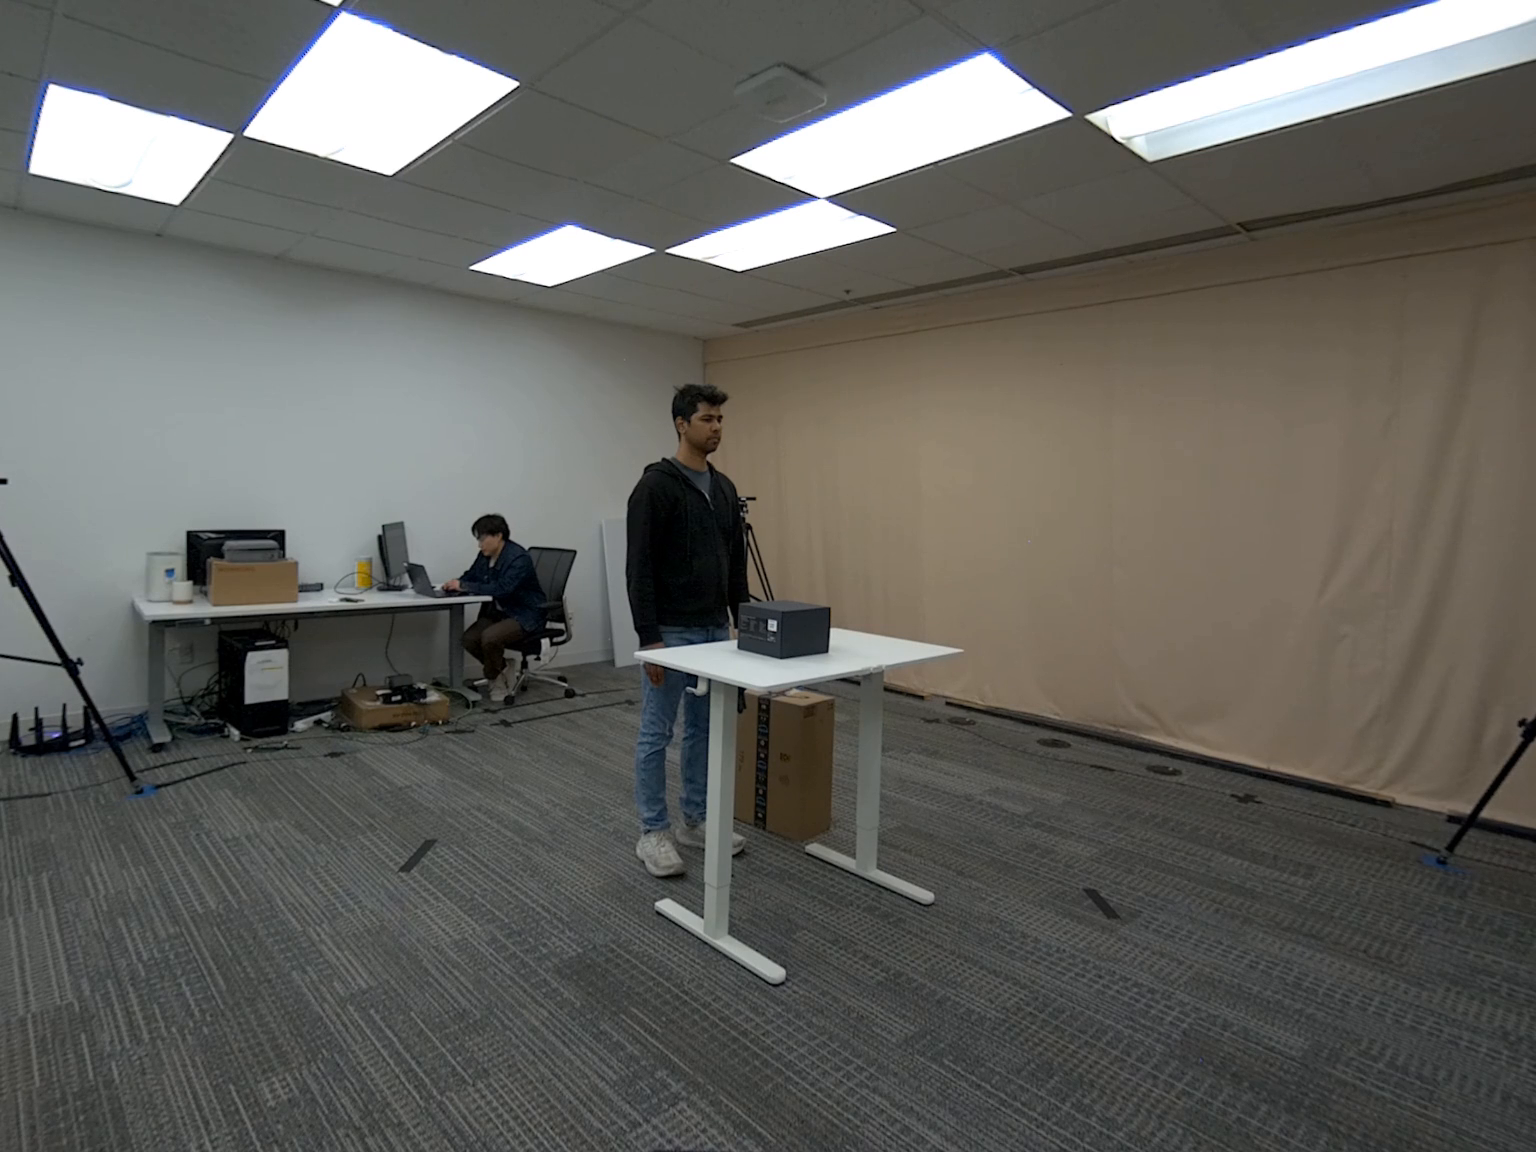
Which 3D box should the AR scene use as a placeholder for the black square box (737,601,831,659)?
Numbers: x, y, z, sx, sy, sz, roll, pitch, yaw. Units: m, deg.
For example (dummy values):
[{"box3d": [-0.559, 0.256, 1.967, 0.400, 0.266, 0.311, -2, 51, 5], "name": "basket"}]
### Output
[{"box3d": [0.045, 0.175, 2.826, 0.223, 0.155, 0.222, -3, 6, -42], "name": "black square box"}]
